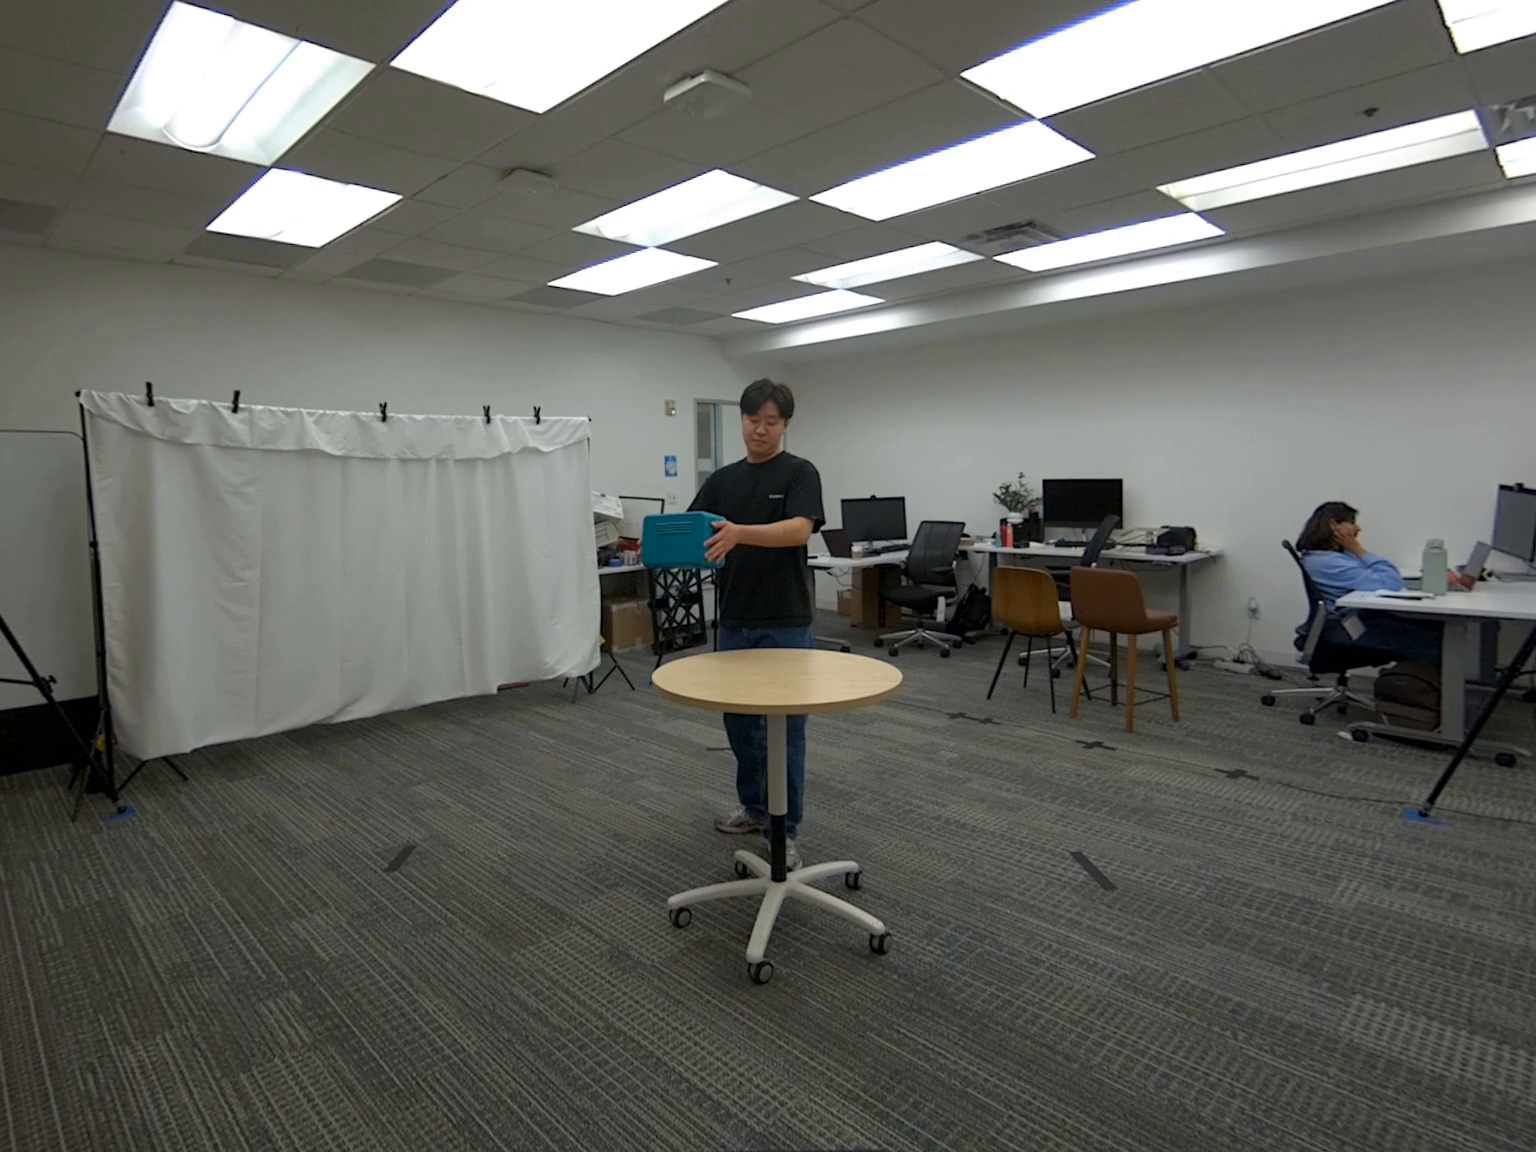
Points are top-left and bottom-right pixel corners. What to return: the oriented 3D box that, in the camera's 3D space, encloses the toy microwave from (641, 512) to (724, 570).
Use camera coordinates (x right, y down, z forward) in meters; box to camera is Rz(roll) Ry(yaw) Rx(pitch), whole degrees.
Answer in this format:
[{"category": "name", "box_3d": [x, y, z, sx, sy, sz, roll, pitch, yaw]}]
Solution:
[{"category": "toy microwave", "box_3d": [-0.286, -0.115, 2.940, 0.294, 0.185, 0.147, -1, -6, 36]}]
